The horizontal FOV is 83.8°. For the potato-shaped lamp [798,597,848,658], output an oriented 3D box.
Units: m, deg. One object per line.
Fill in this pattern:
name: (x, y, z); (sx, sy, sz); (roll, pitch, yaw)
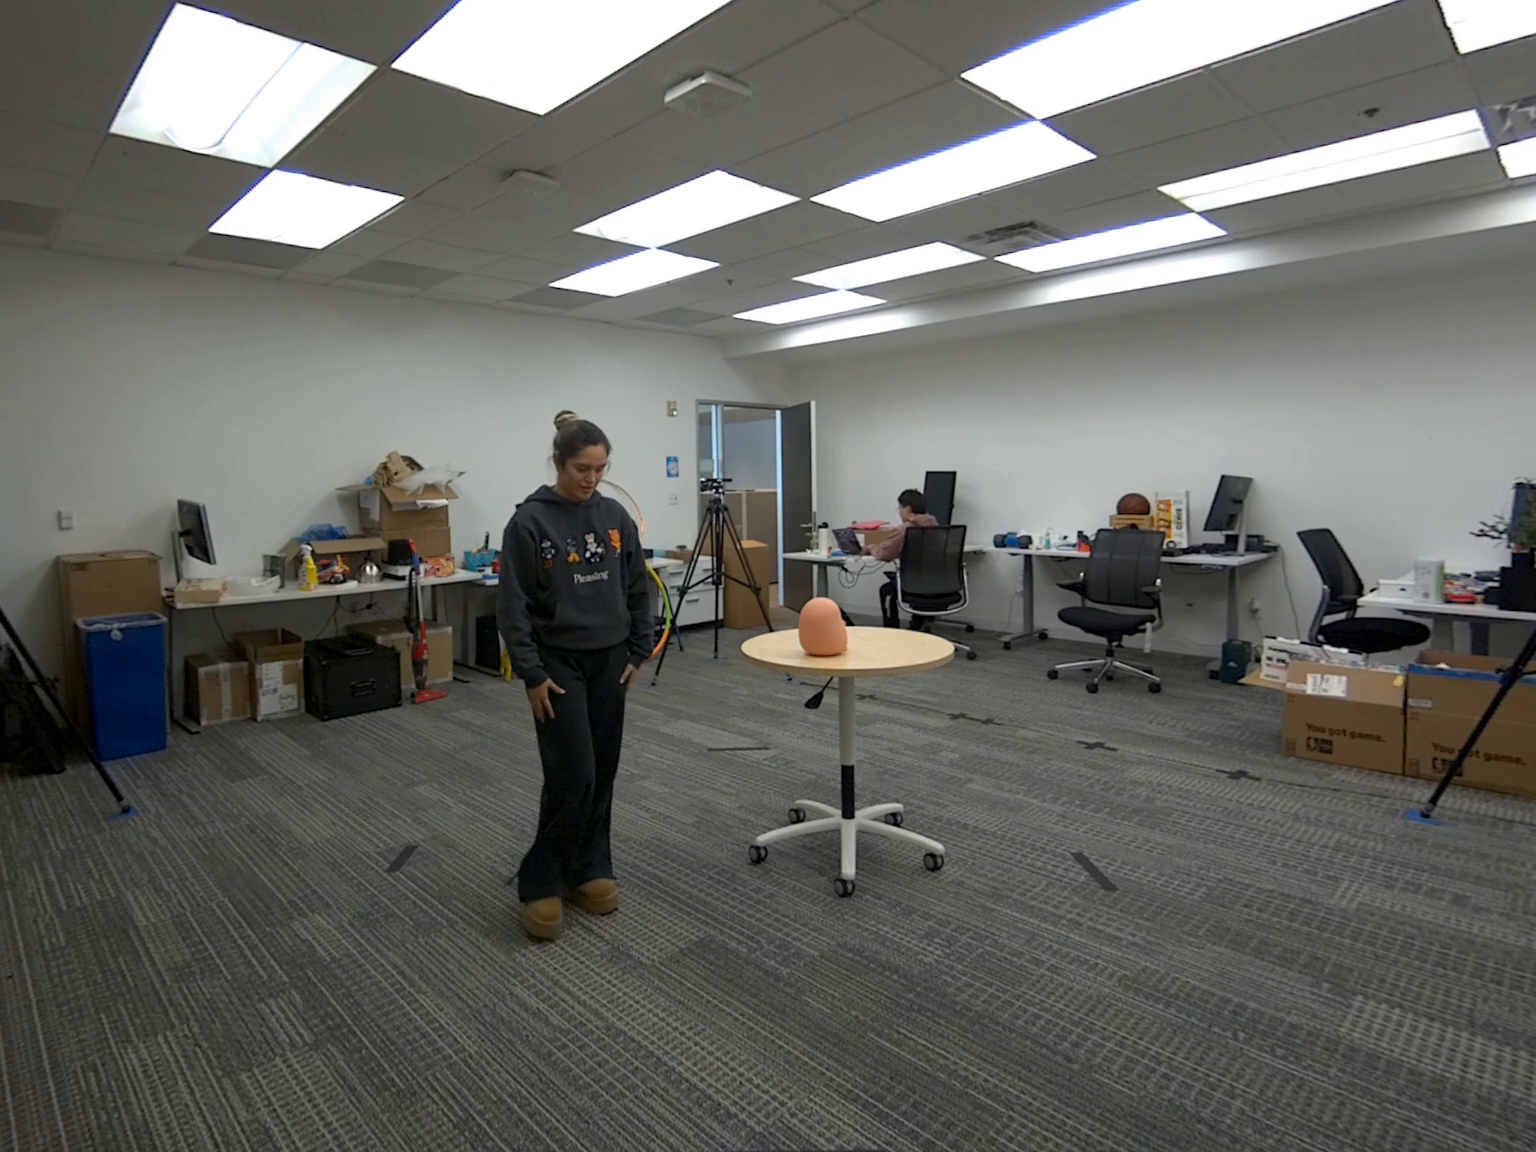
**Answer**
potato-shaped lamp: (0.190, 0.174, 2.970); (0.170, 0.197, 0.167); (6, 8, 44)
